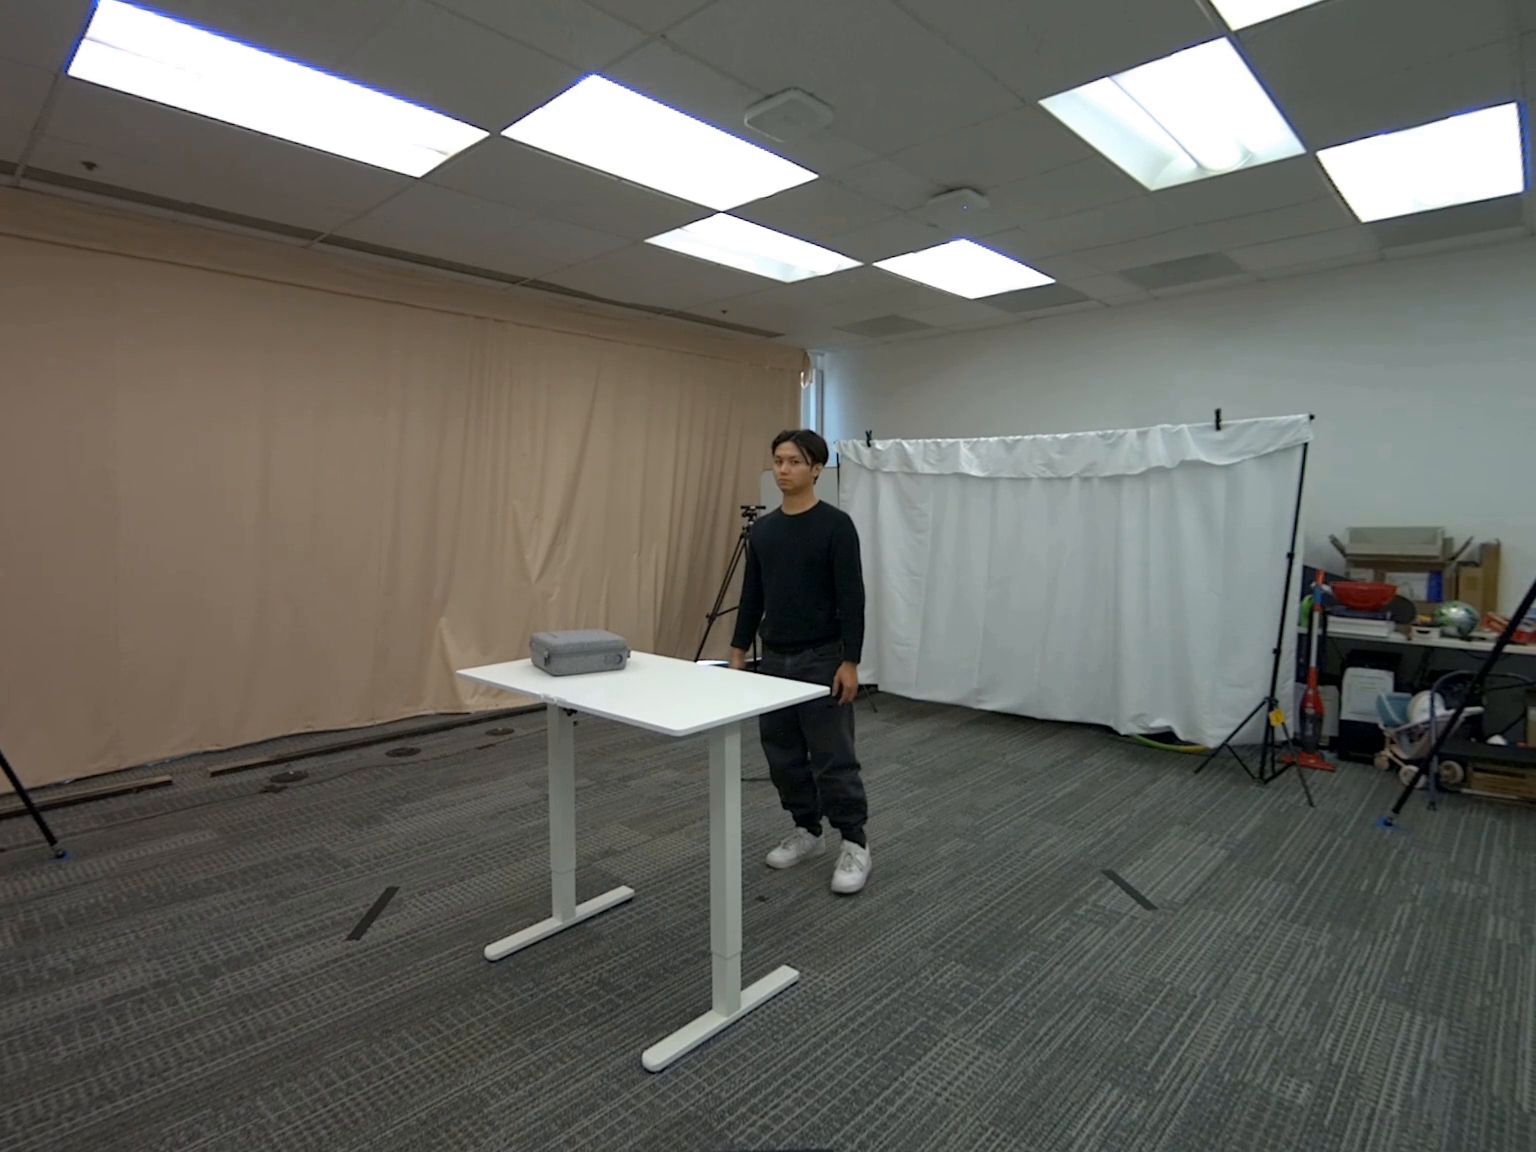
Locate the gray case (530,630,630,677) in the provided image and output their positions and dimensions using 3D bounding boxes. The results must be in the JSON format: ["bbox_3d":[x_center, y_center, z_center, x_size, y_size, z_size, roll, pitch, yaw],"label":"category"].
[{"bbox_3d":[-0.602,0.236,2.673,0.254,0.104,0.264,-2,4,-30],"label":"gray case"}]
